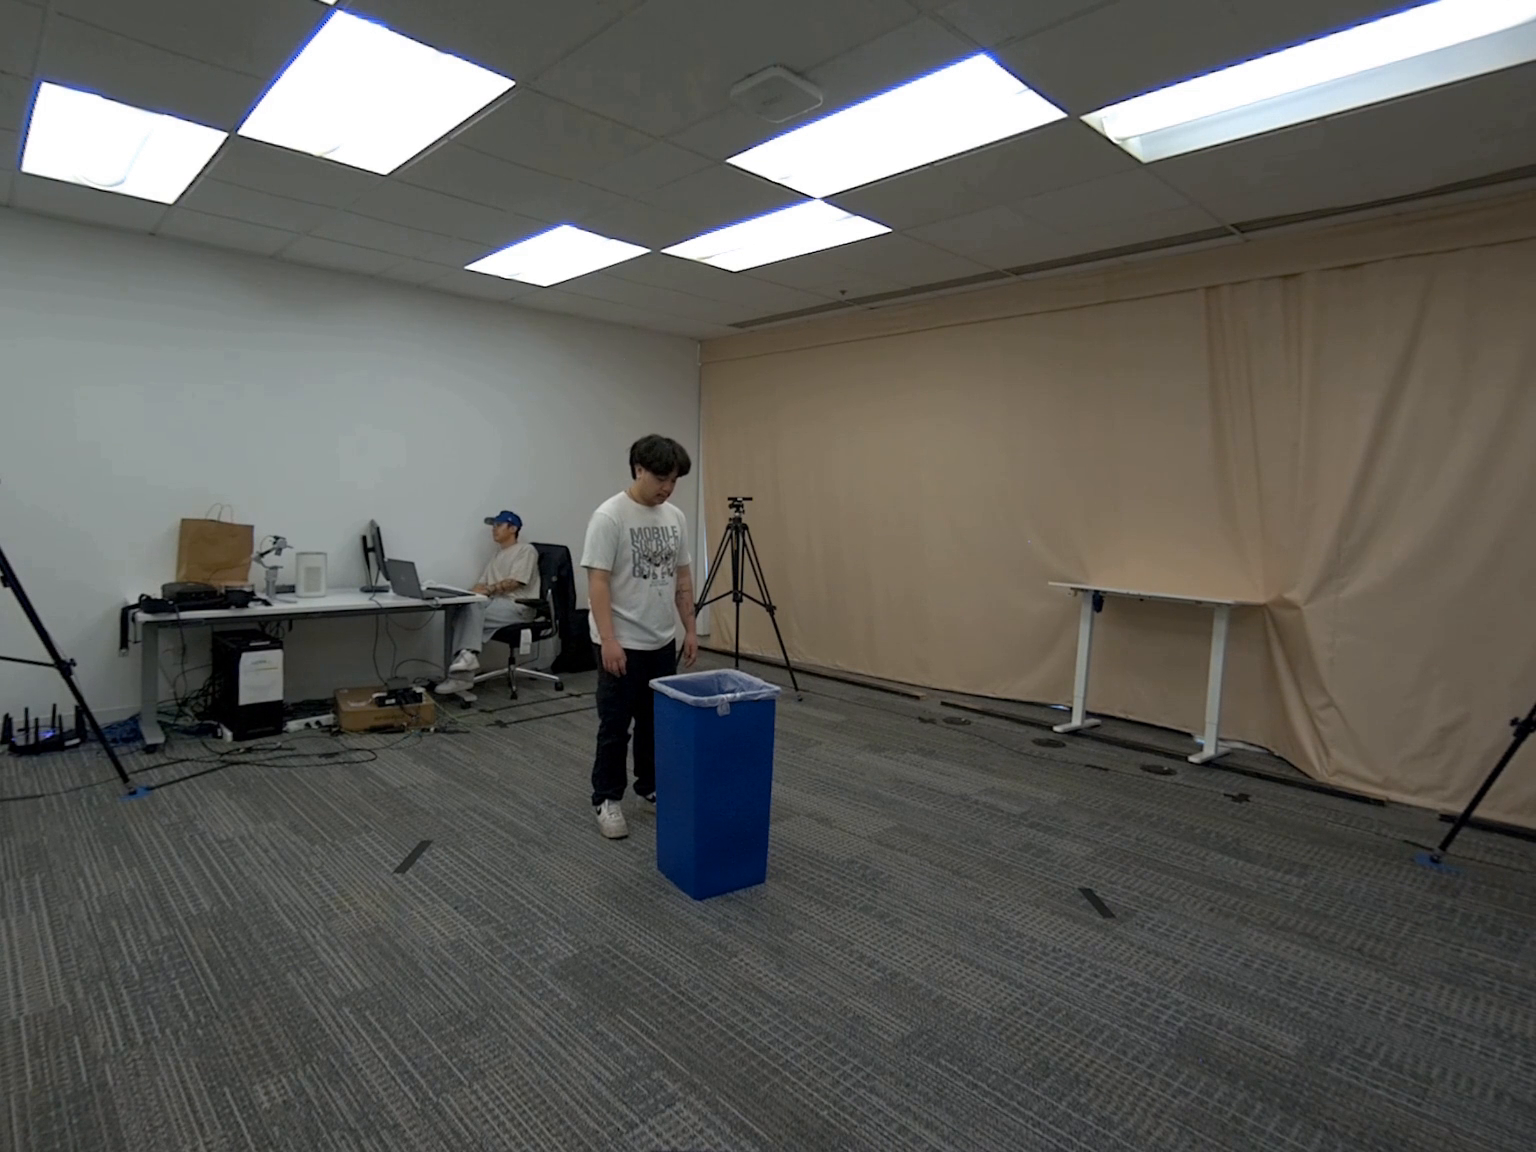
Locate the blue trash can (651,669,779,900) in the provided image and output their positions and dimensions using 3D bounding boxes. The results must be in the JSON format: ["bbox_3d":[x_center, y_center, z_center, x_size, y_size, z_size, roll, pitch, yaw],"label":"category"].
[{"bbox_3d":[-0.215,0.748,3.095,0.370,0.712,0.383,-1,4,-34],"label":"blue trash can"}]
